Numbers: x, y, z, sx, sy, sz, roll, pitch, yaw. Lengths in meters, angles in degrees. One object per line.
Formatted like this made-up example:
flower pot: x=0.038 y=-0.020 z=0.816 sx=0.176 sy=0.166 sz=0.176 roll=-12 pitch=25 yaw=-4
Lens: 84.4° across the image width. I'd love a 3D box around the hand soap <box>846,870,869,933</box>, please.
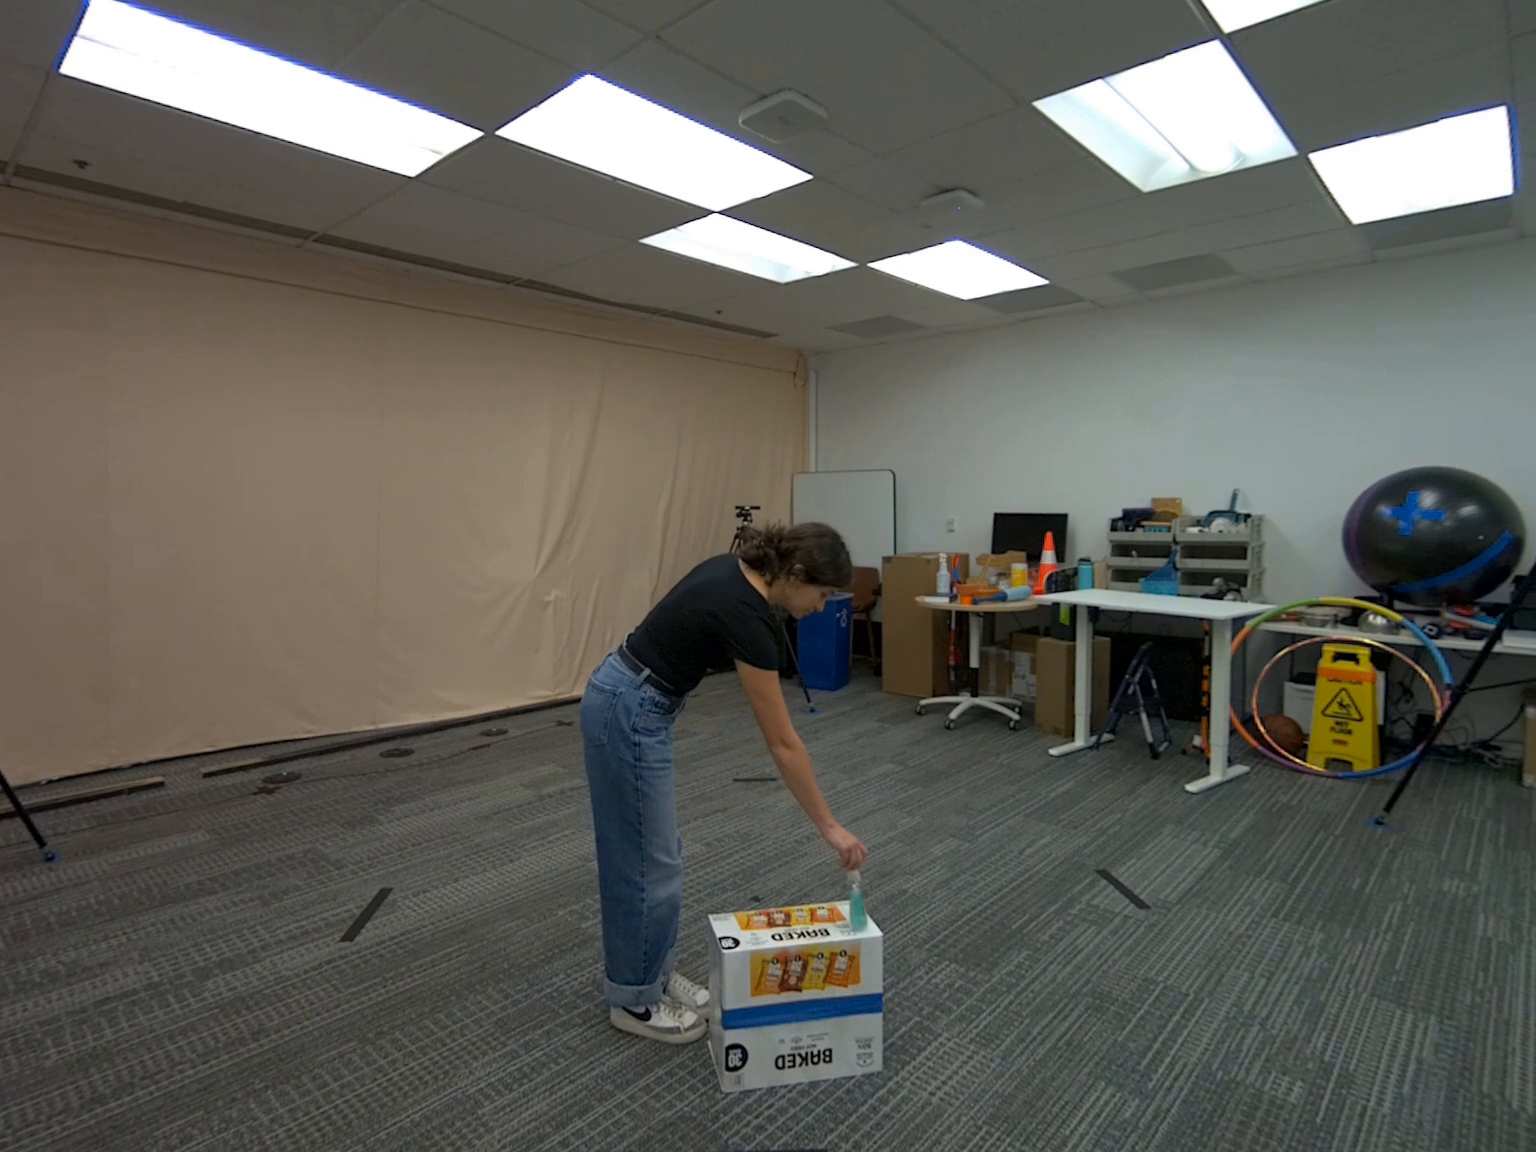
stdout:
hand soap: x=0.221 y=0.796 z=2.083 sx=0.043 sy=0.167 sz=0.085 roll=-4 pitch=6 yaw=-2
